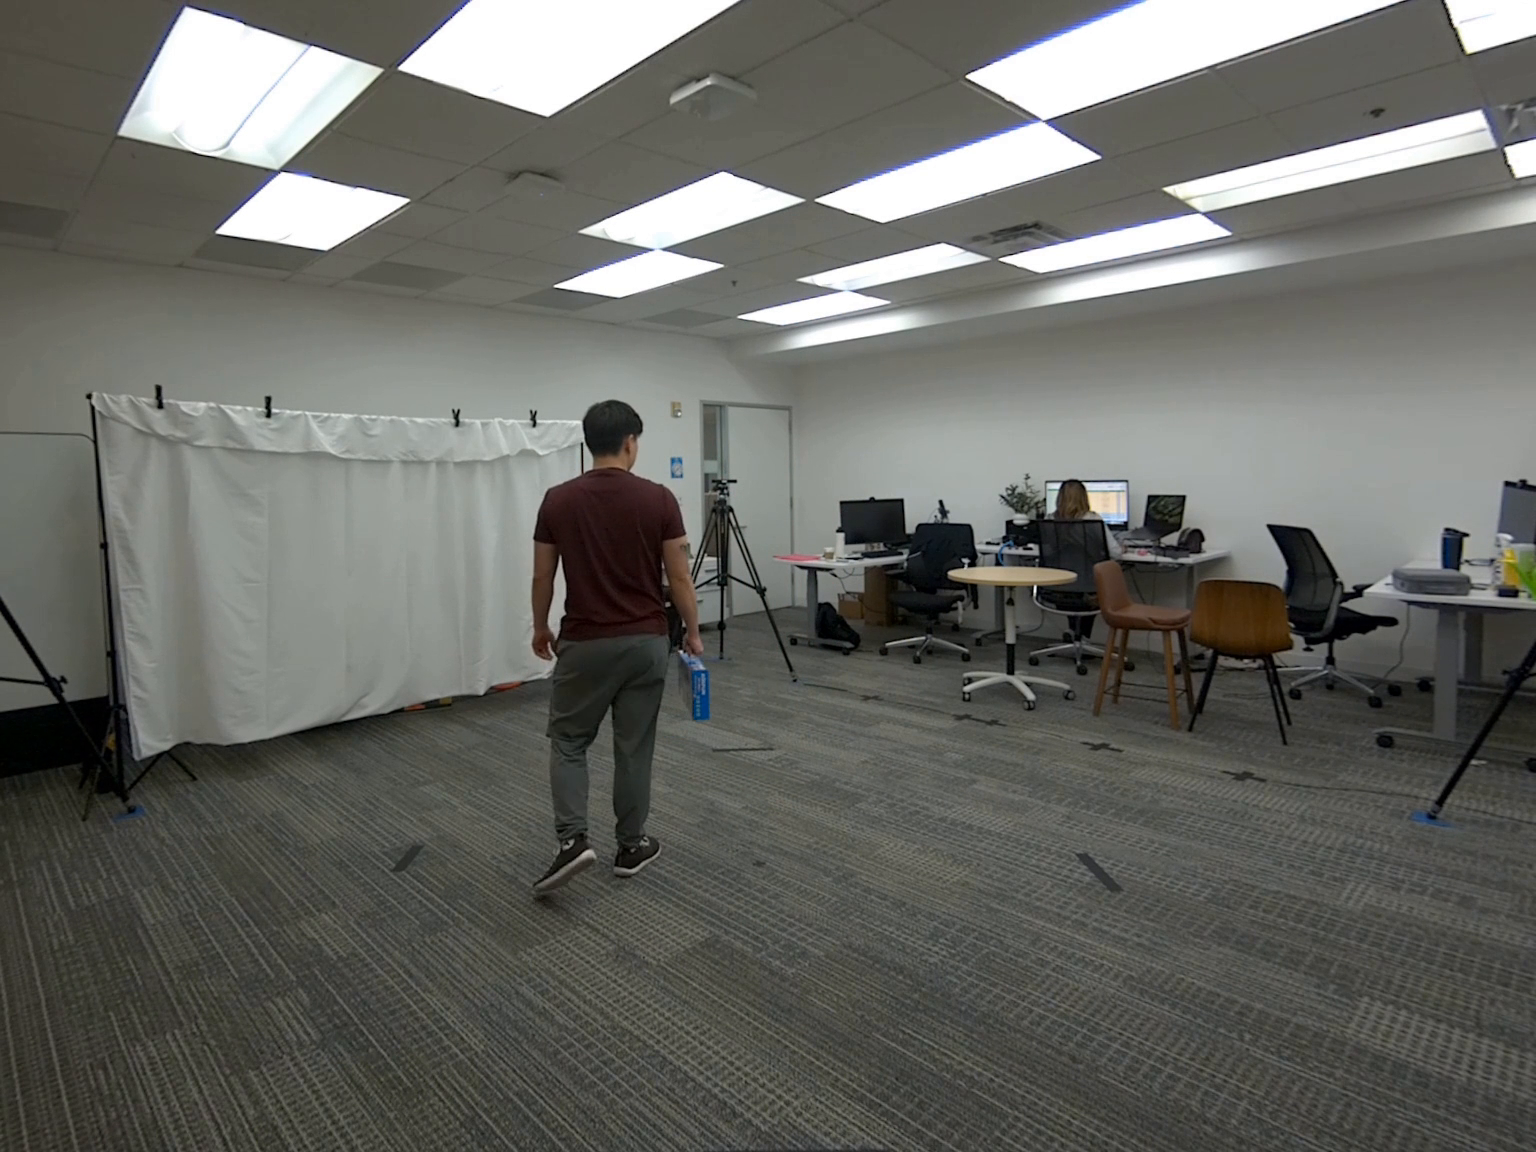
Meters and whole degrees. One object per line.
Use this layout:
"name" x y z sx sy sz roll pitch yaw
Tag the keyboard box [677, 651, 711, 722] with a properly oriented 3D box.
"keyboard box" -0.278 0.388 3.137 0.058 0.175 0.443 -2 5 -13
